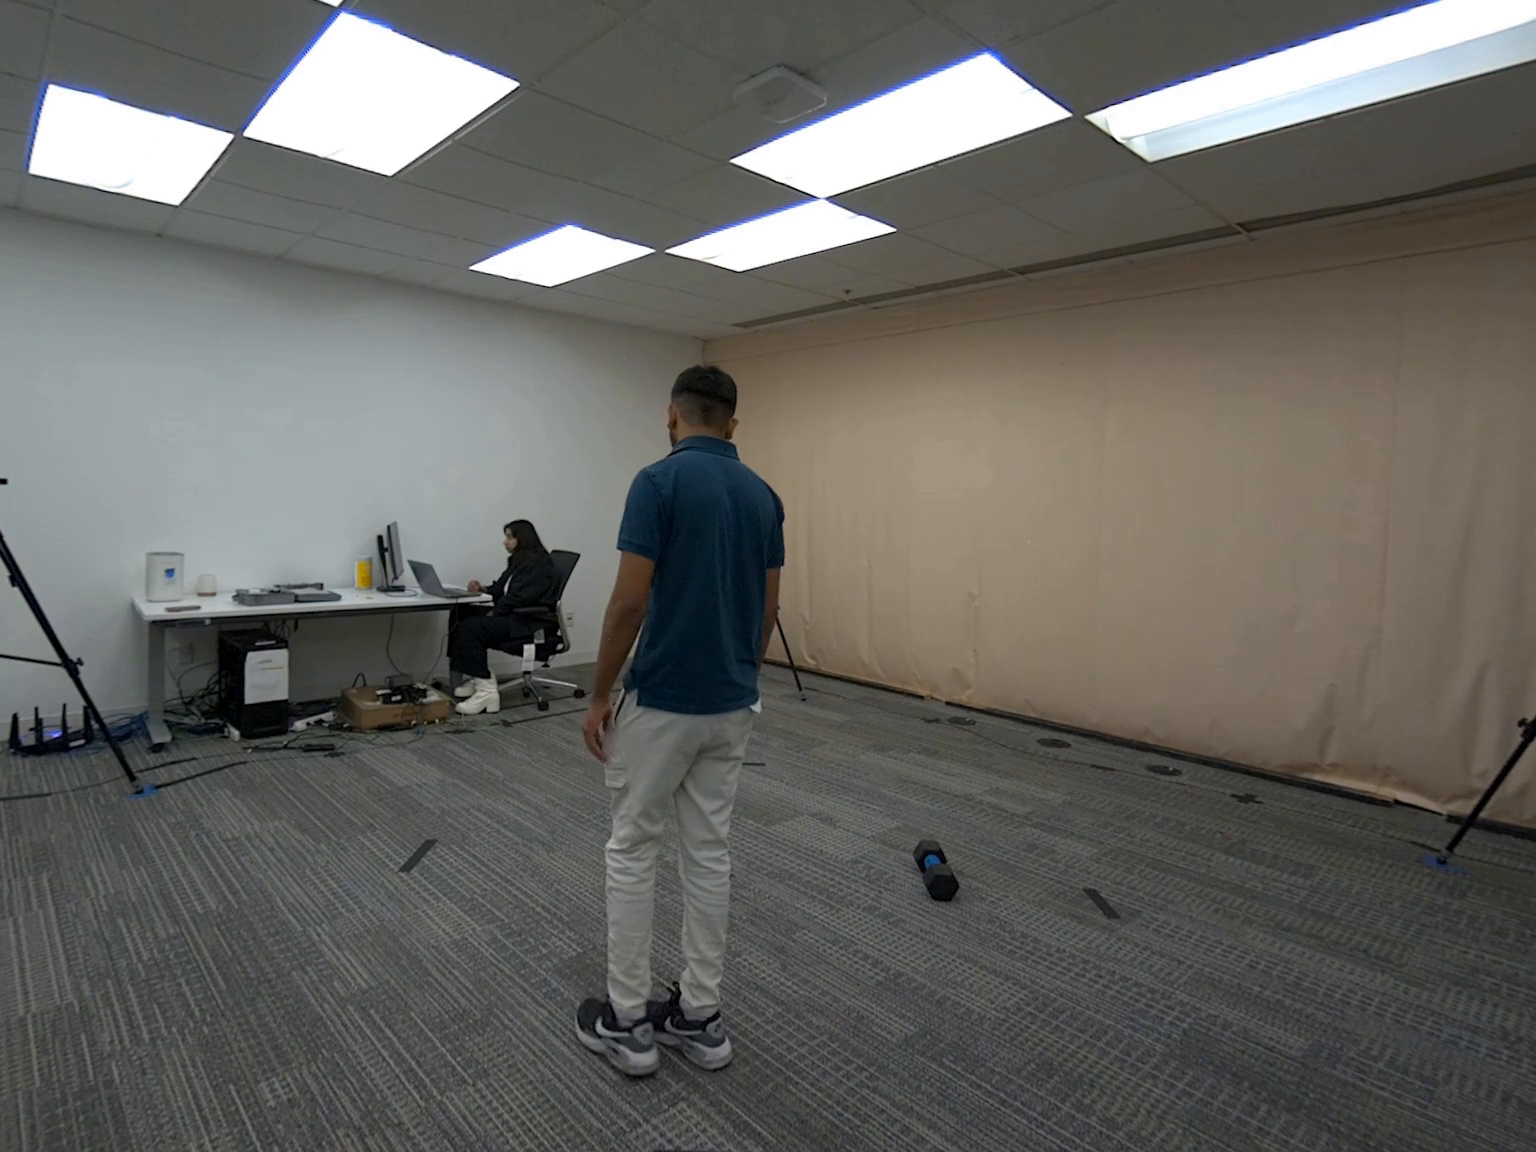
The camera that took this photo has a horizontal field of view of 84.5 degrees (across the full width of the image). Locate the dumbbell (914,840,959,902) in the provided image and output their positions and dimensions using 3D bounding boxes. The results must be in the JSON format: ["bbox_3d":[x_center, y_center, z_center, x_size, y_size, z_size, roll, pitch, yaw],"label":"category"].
[{"bbox_3d":[0.605,1.074,3.083,0.108,0.123,0.294,31,4,-2],"label":"dumbbell"}]
